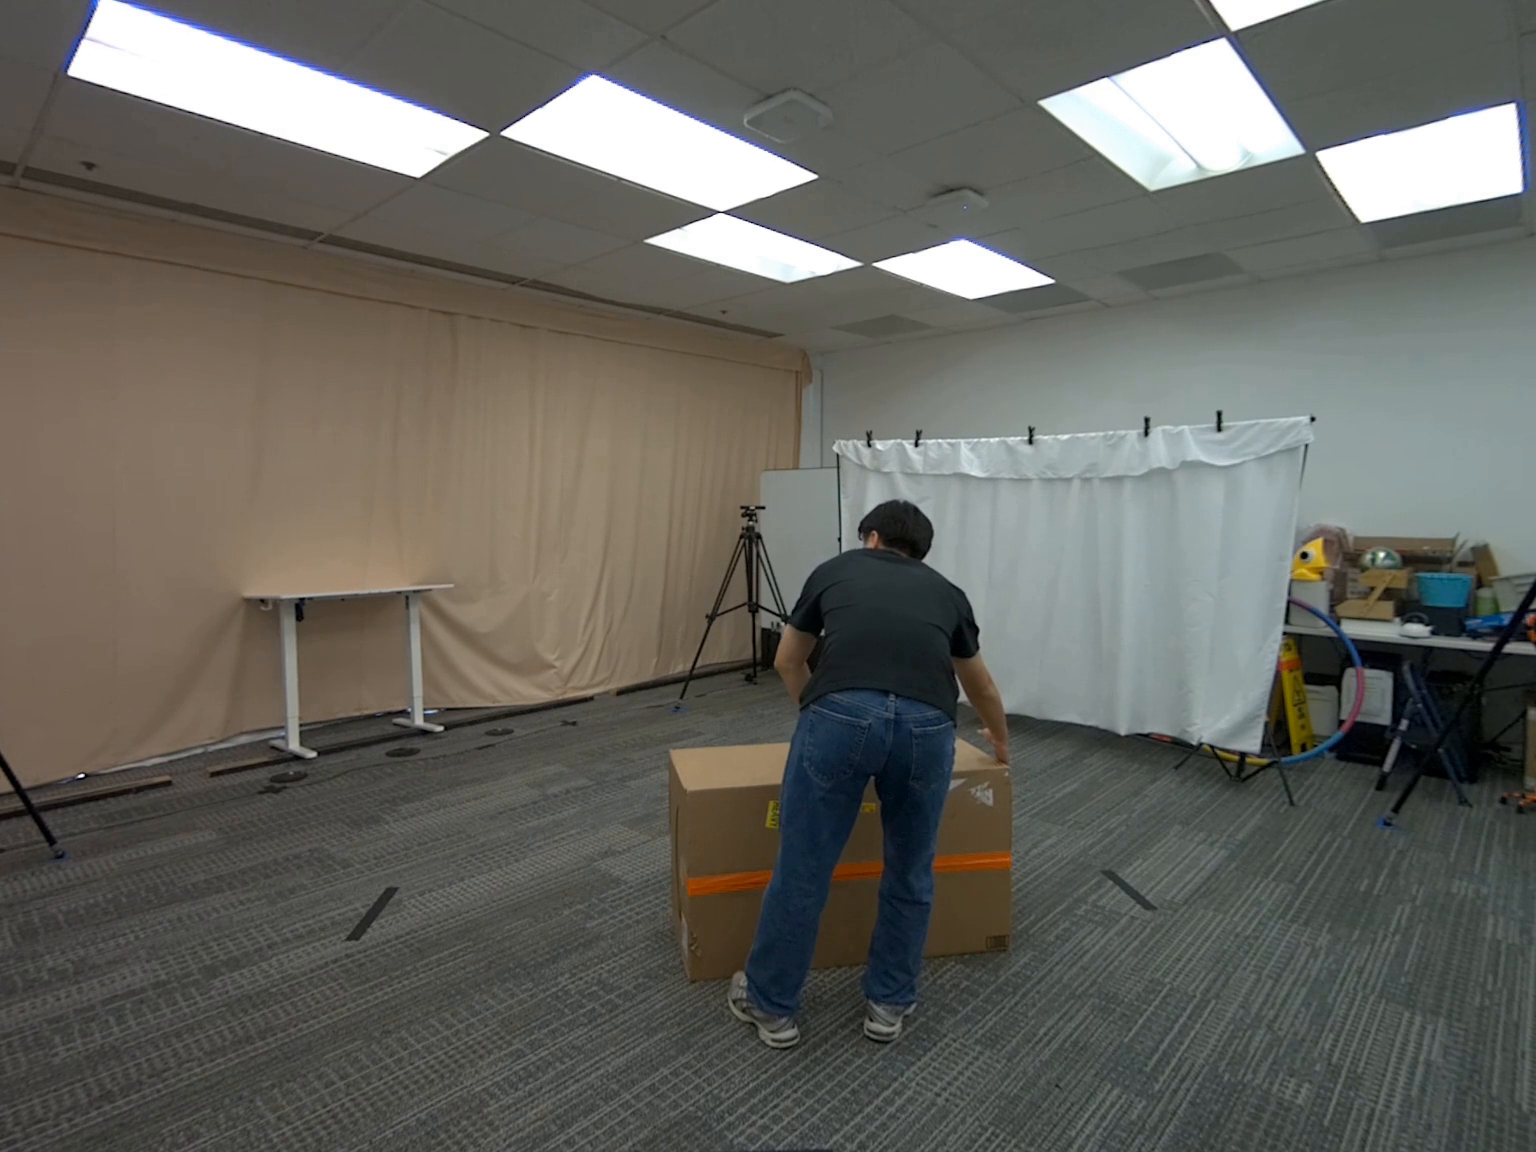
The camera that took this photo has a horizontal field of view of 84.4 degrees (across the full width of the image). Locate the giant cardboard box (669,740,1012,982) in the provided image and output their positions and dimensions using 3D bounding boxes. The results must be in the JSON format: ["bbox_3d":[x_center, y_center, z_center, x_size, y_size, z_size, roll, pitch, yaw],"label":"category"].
[{"bbox_3d":[0.213,0.876,2.736,1.015,0.582,0.453,-2,5,-11],"label":"giant cardboard box"}]
